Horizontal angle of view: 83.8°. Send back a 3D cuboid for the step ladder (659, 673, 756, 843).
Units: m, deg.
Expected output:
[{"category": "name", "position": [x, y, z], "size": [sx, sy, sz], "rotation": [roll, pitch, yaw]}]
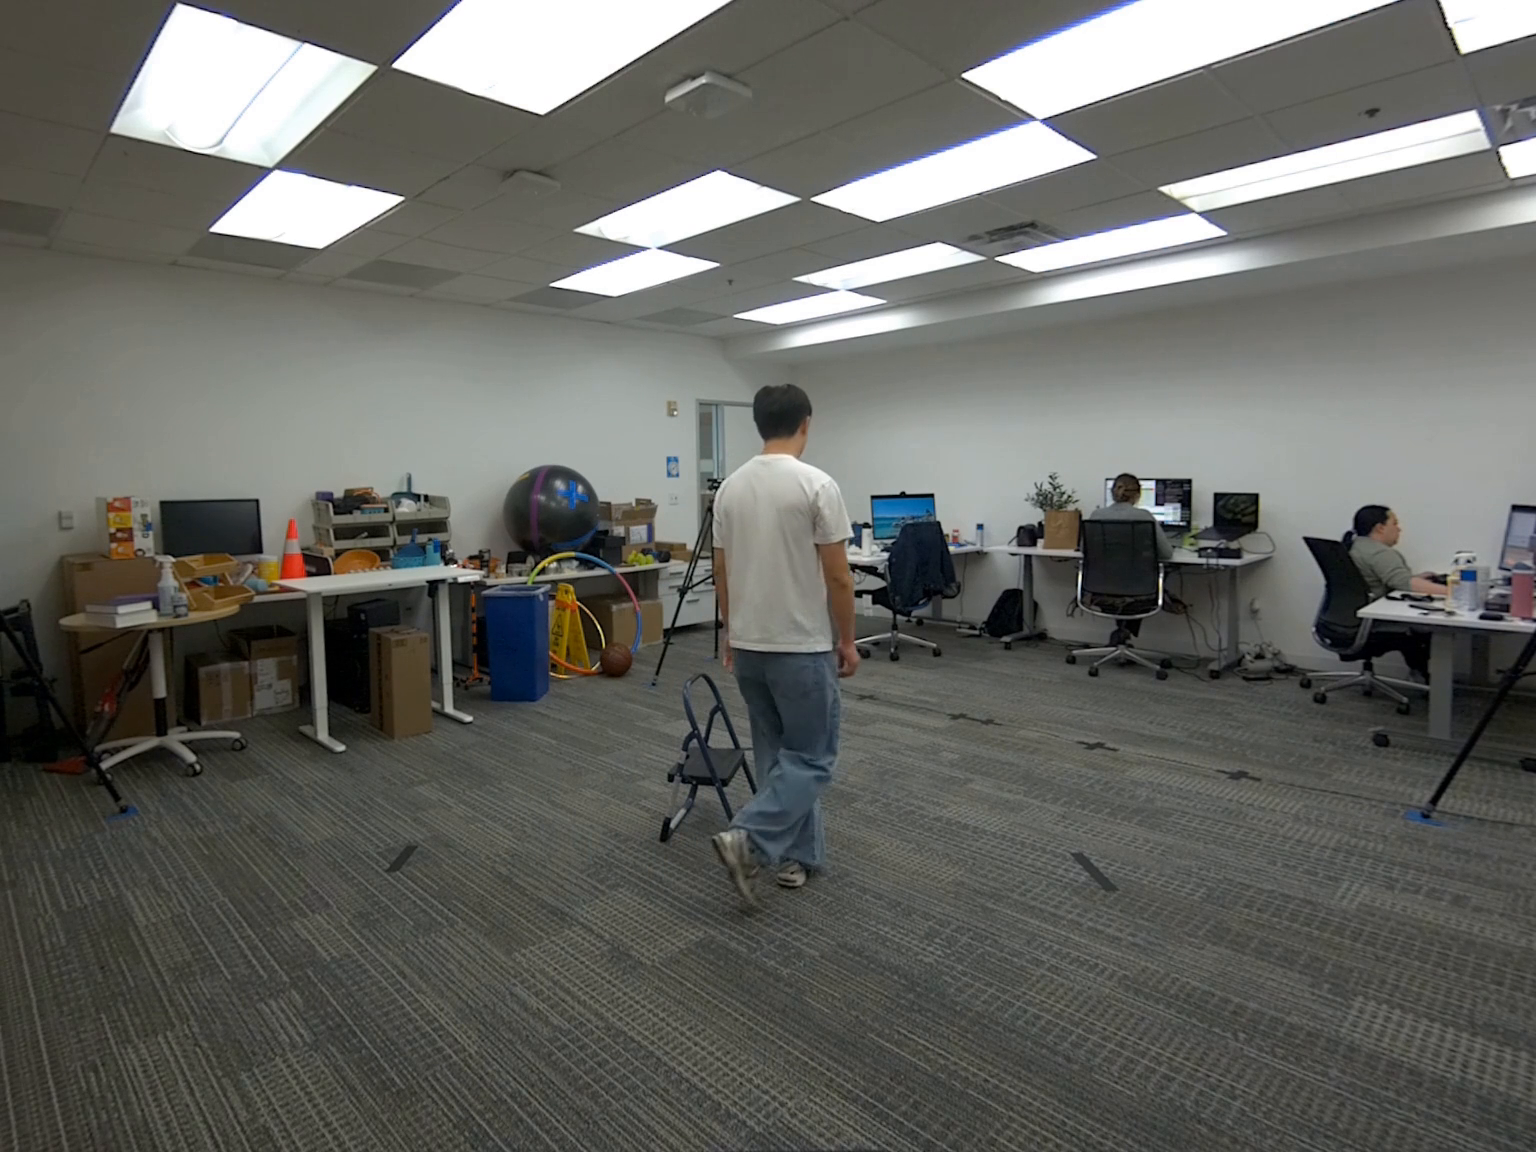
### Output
[{"category": "step ladder", "position": [-0.222, 0.705, 3.447], "size": [0.353, 0.604, 0.427], "rotation": [0, 4, 11]}]
